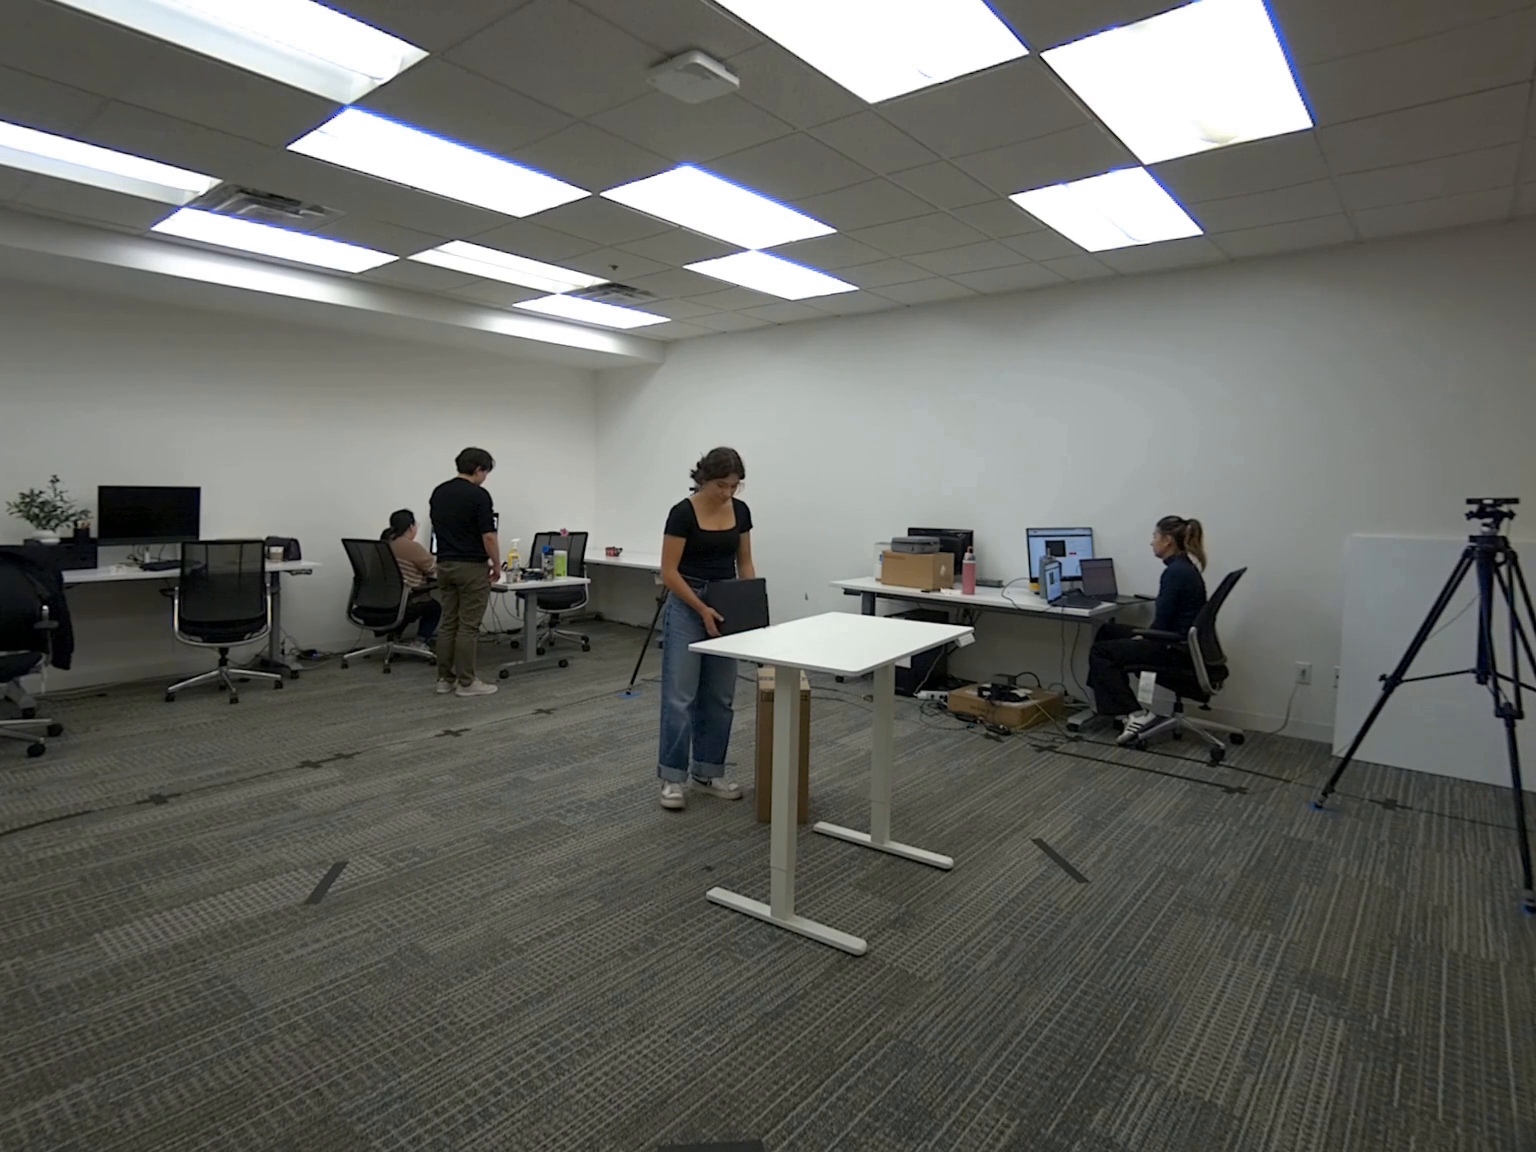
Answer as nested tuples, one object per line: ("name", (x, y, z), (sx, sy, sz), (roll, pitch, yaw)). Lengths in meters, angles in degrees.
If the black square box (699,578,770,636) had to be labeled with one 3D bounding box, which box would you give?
("black square box", (-0.131, 0.120, 3.712), (0.212, 0.228, 0.159), (-6, 0, -25))
